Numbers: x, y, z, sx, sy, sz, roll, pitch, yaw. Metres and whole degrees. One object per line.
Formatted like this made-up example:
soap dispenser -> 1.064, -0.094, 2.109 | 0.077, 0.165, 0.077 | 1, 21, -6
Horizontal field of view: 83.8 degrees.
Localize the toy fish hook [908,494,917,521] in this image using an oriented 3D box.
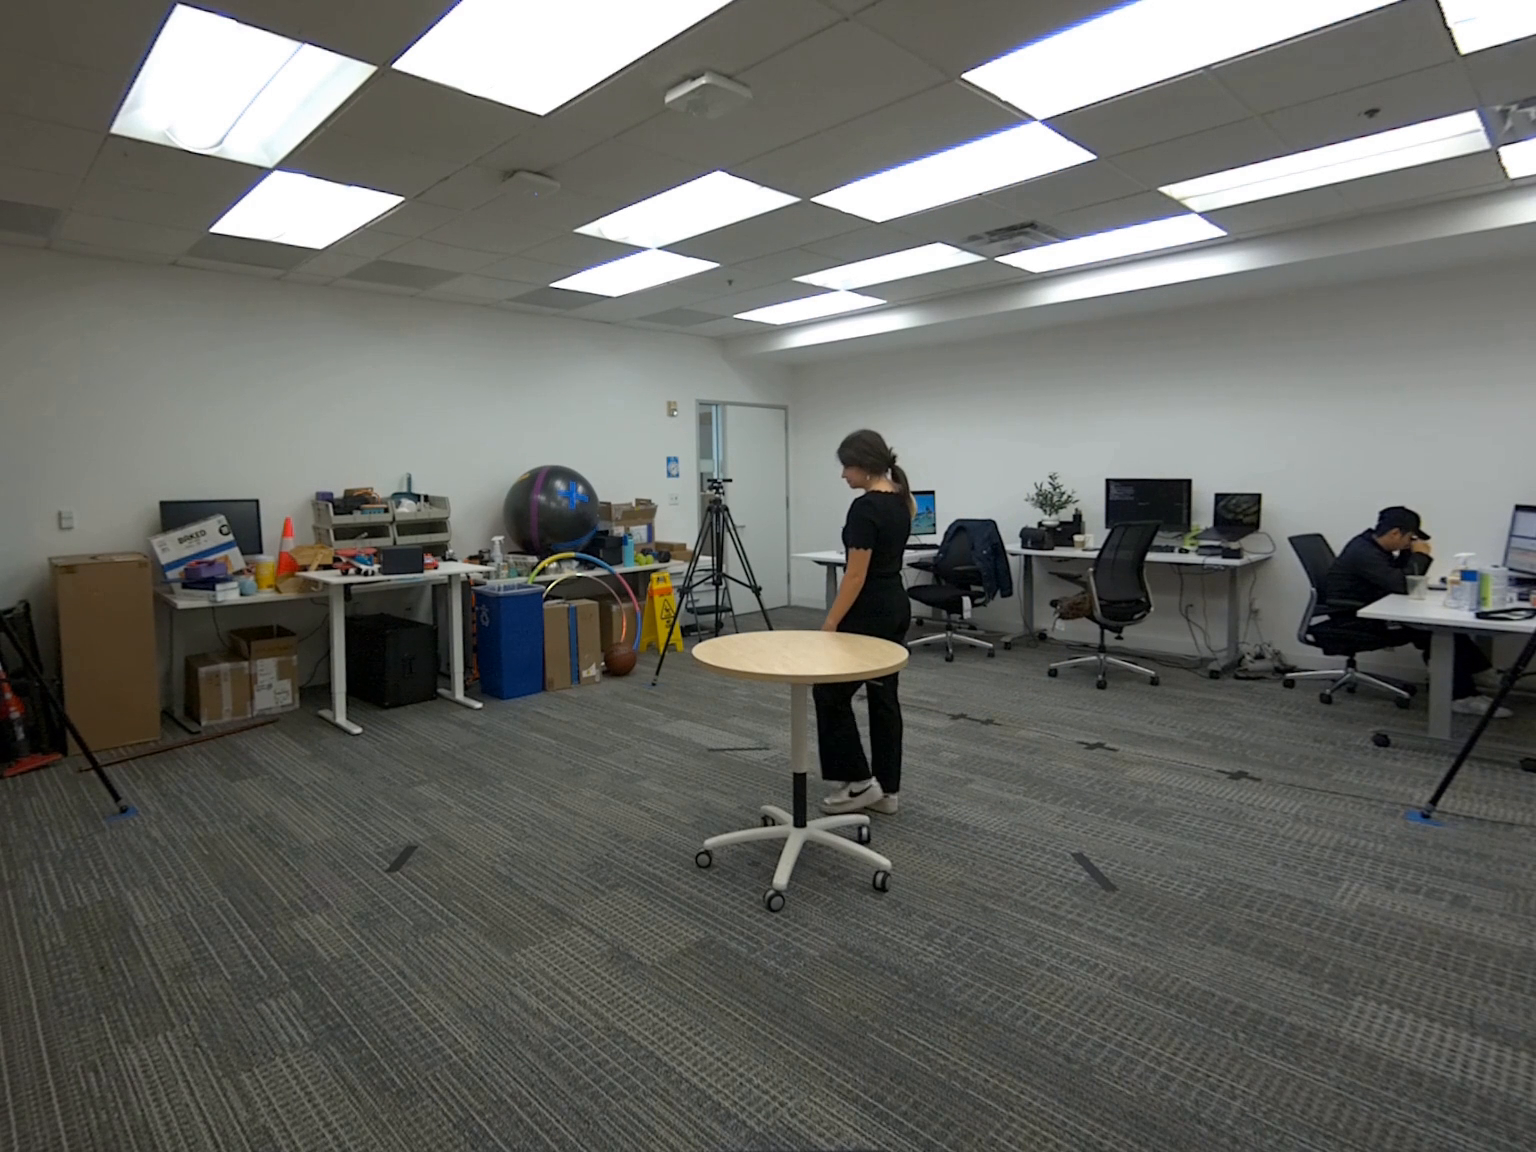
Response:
toy fish hook -> 0.543, -0.174, 3.654 | 0.230, 0.503, 0.047 | -5, 8, 32
